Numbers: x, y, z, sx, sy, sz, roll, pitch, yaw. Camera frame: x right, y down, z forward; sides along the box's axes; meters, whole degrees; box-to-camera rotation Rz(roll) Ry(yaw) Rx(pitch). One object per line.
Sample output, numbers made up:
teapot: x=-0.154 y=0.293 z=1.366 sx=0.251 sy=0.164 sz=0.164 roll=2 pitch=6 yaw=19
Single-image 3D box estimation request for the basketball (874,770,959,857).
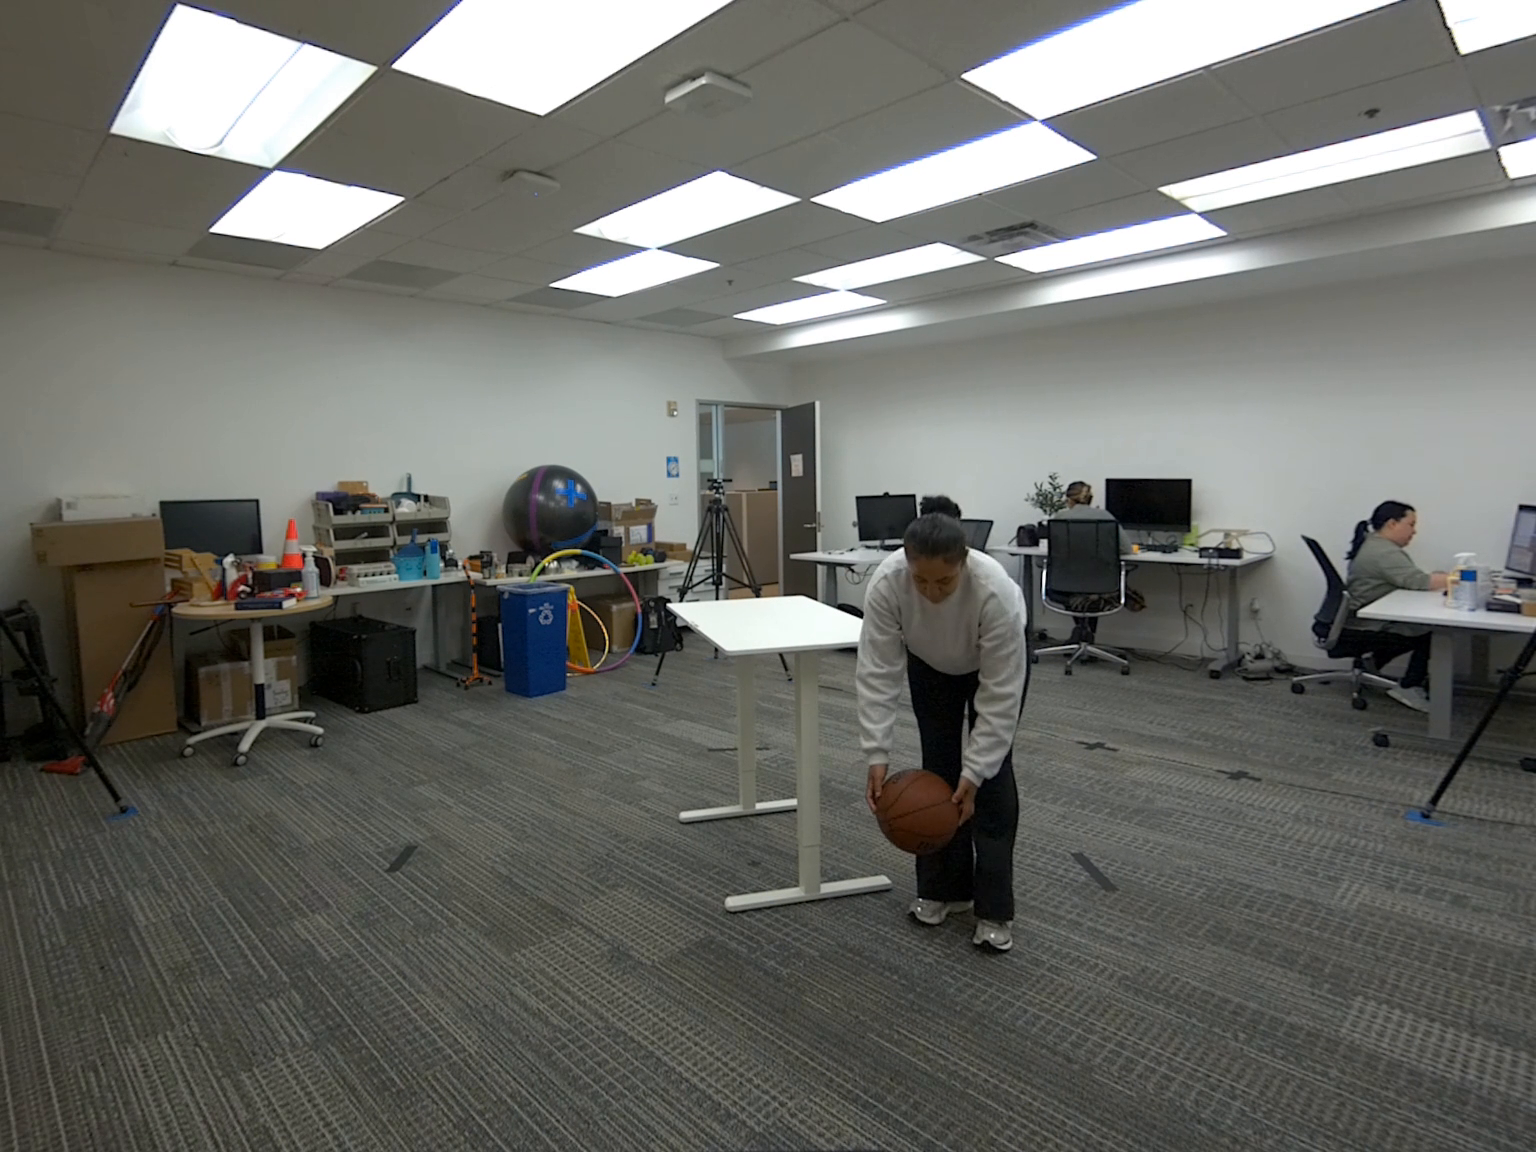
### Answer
basketball: x=0.448 y=0.677 z=2.494 sx=0.236 sy=0.235 sz=0.237 roll=-1 pitch=5 yaw=-2
